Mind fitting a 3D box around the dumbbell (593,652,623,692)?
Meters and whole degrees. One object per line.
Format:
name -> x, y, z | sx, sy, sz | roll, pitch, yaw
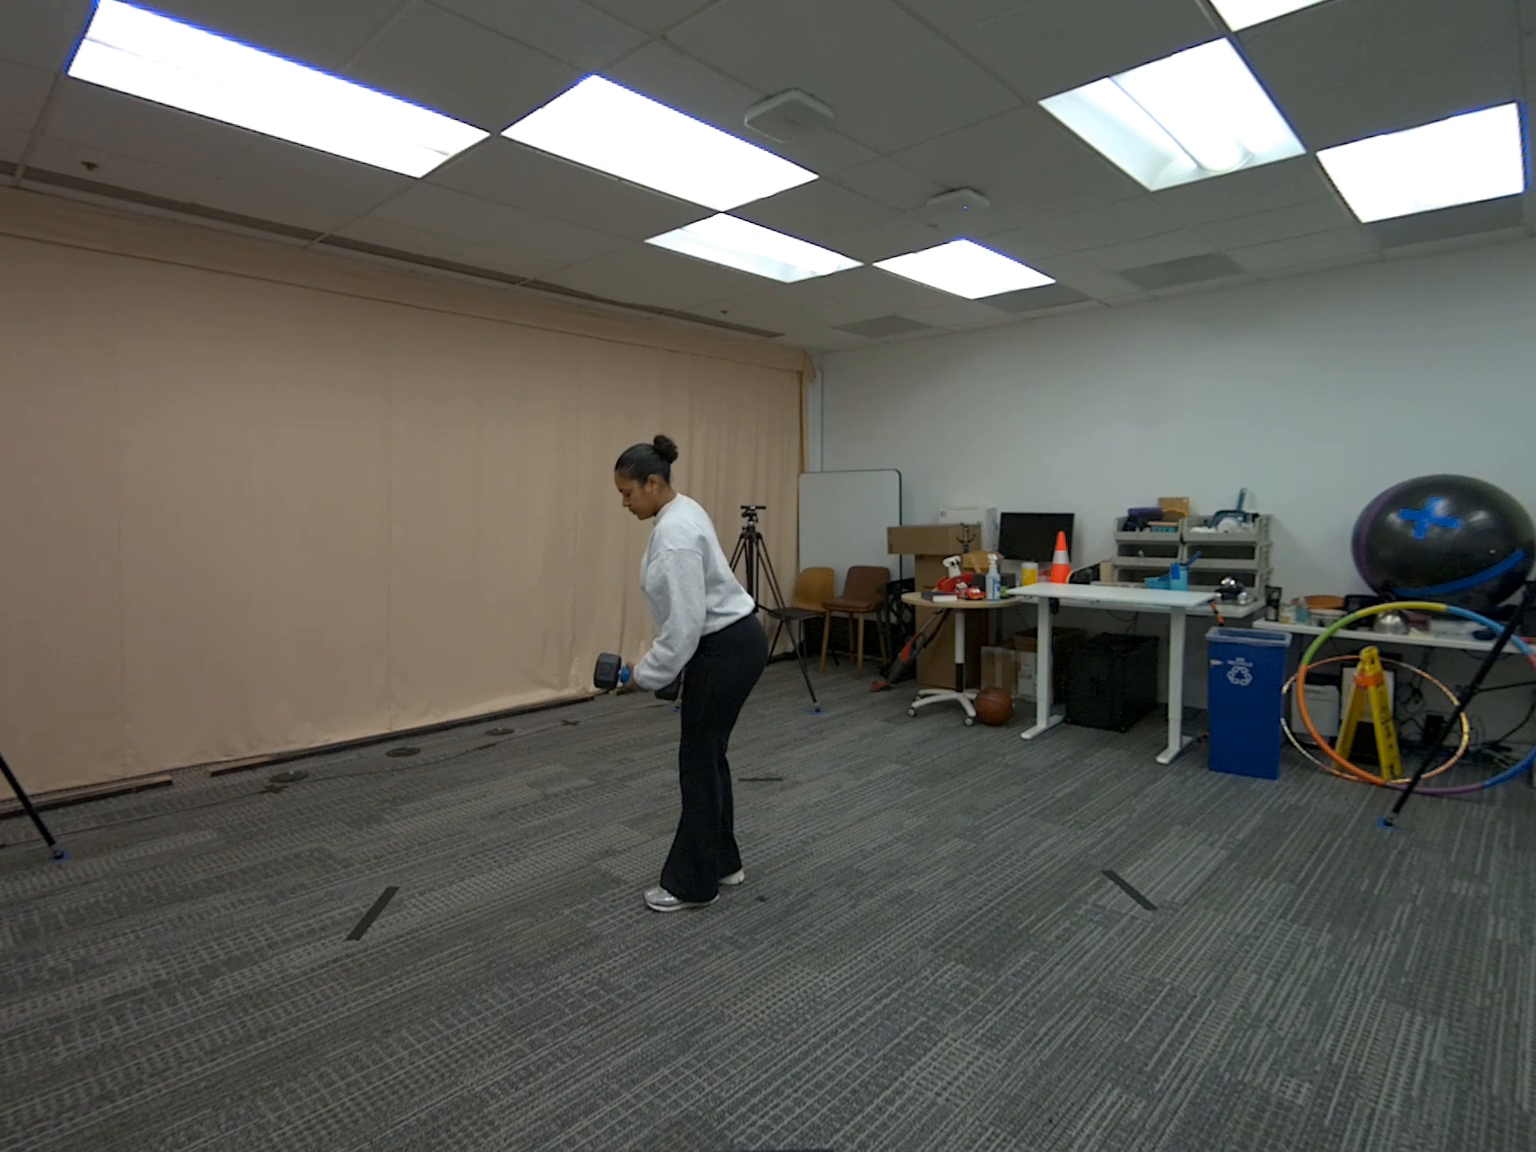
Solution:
dumbbell -> -0.436, 0.349, 2.879 | 0.293, 0.110, 0.121 | 9, -41, -3
